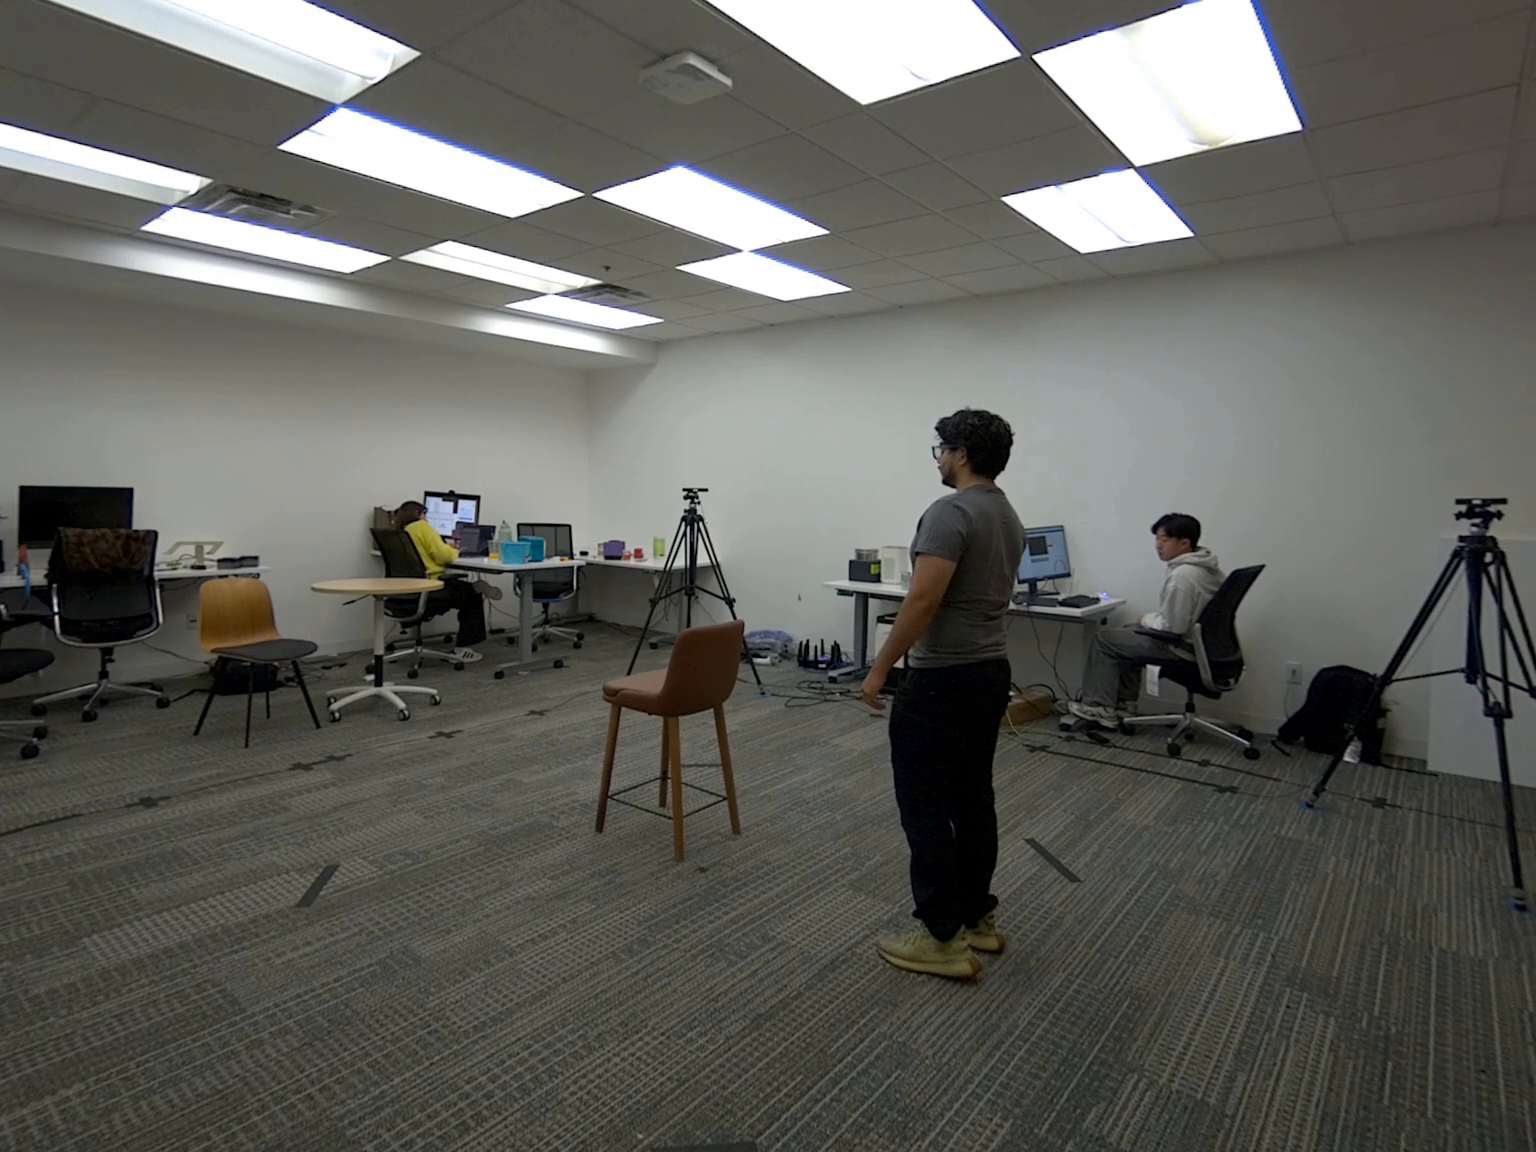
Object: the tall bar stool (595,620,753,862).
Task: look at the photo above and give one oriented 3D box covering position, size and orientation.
[{"bbox_3d":[-0.399,0.601,3.429,0.483,0.887,0.443,6,5,37],"label":"tall bar stool"}]
